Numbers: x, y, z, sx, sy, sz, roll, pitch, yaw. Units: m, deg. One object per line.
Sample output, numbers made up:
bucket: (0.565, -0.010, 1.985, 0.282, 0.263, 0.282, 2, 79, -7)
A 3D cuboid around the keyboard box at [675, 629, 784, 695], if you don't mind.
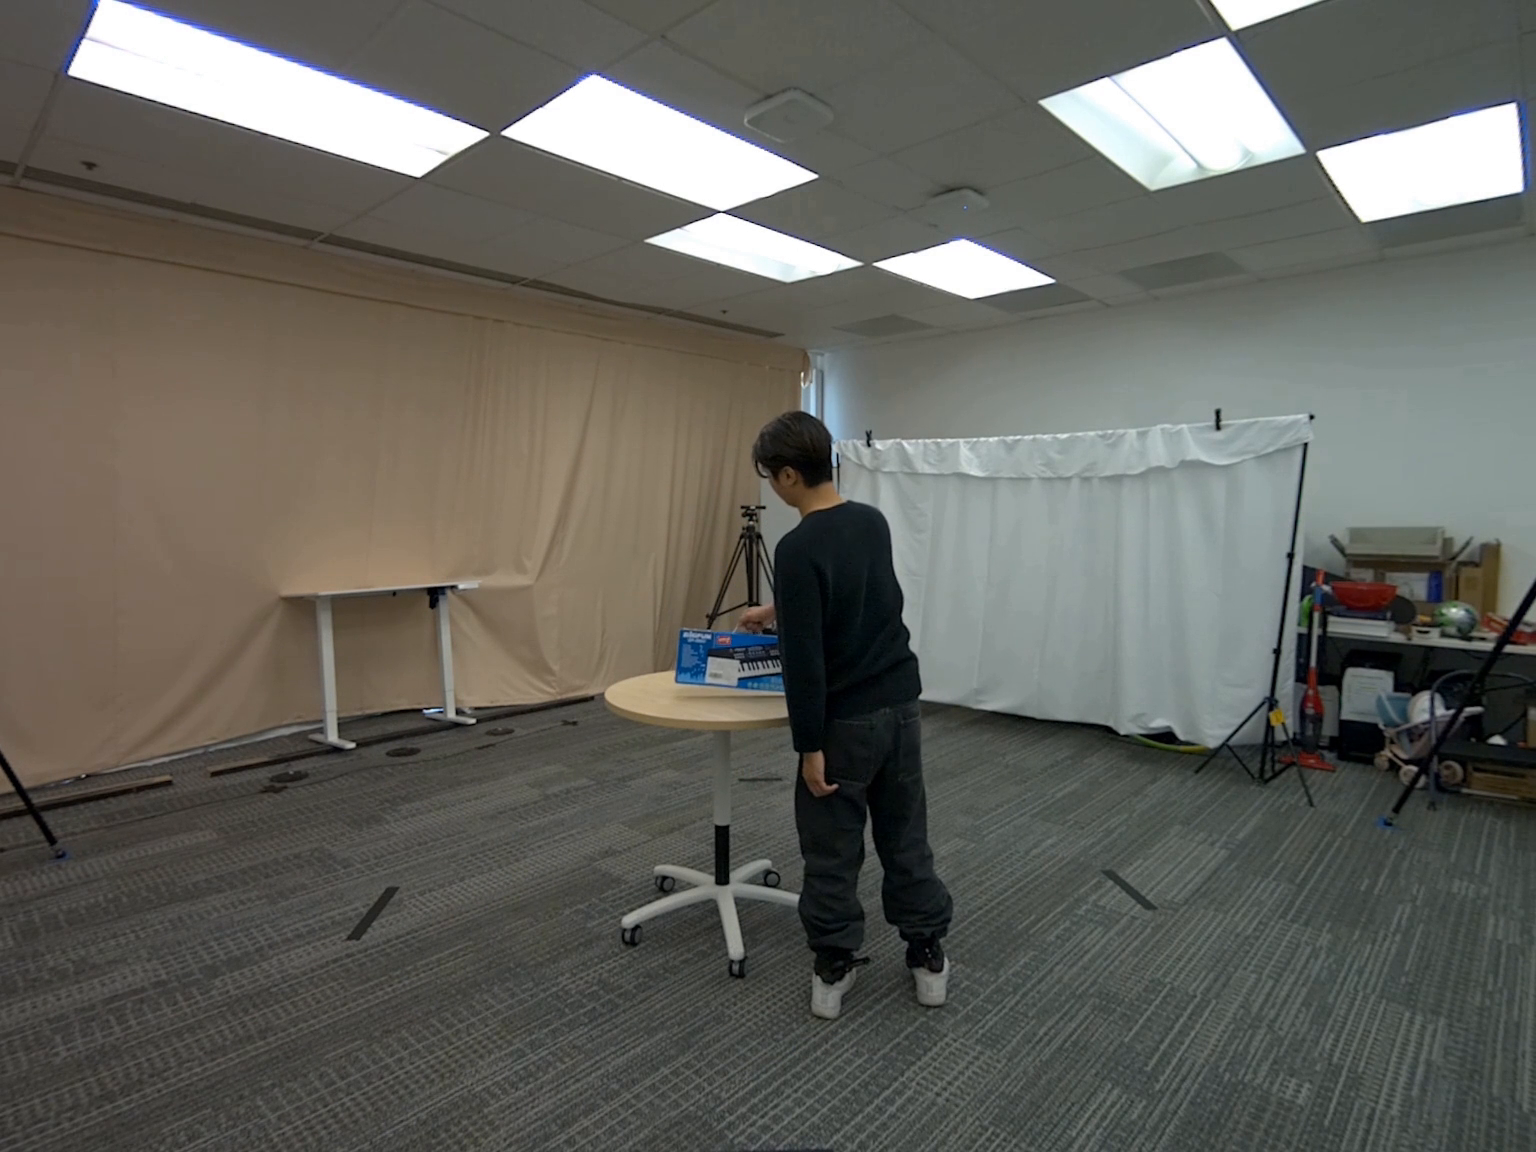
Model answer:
keyboard box: (-0.064, 0.264, 2.684, 0.436, 0.176, 0.059, 4, -3, -1)
